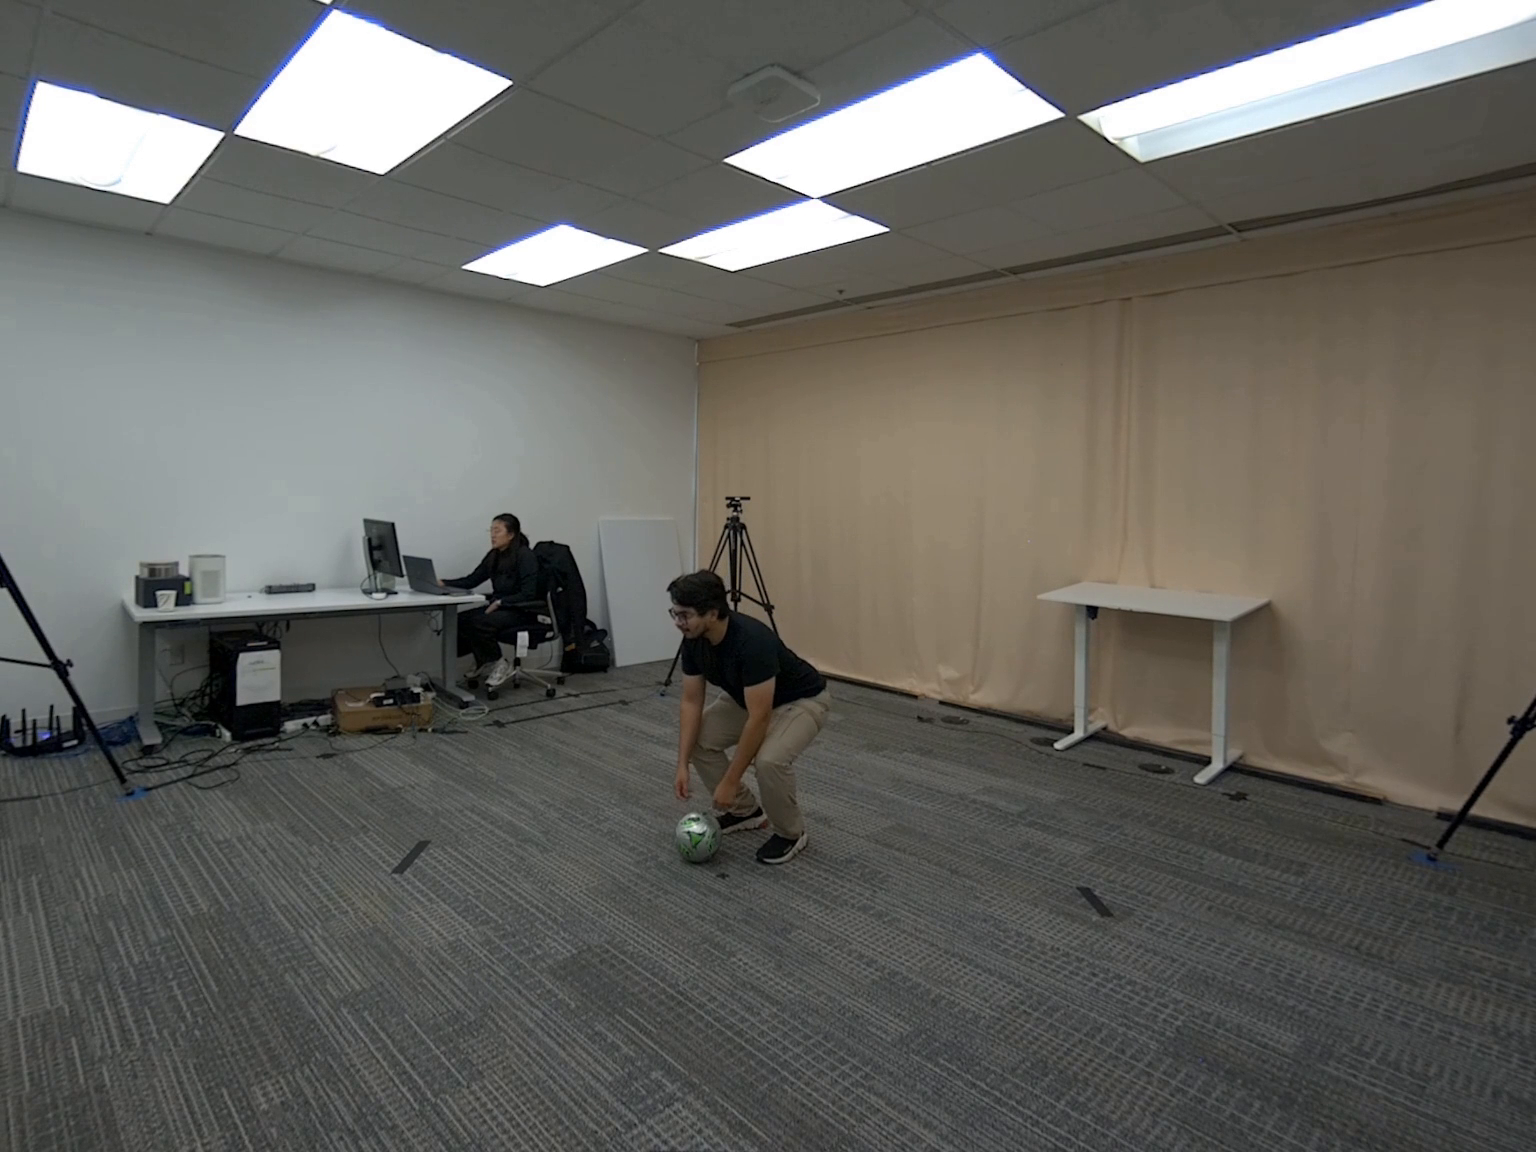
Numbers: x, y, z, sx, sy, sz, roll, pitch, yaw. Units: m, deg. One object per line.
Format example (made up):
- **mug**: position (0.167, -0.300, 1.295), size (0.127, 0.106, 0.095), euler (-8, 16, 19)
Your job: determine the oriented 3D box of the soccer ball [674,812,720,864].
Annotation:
- **soccer ball**: position (-0.277, 0.999, 3.224), size (0.187, 0.187, 0.188), euler (1, 4, -1)
